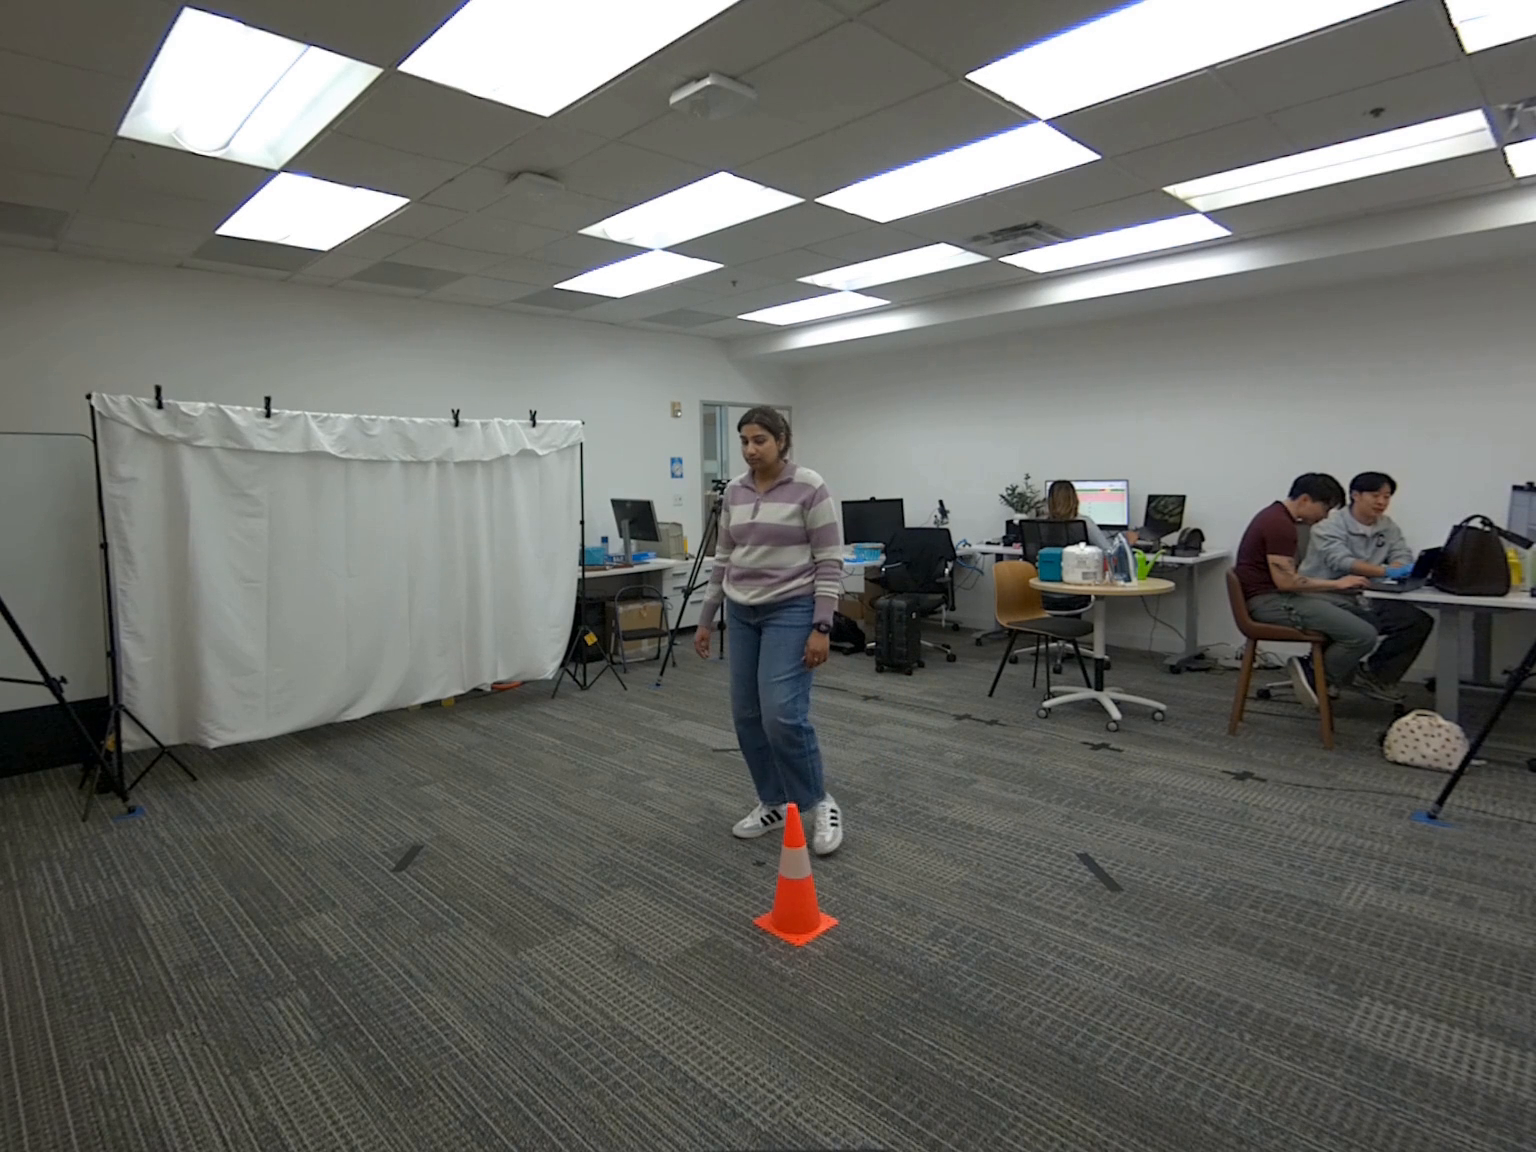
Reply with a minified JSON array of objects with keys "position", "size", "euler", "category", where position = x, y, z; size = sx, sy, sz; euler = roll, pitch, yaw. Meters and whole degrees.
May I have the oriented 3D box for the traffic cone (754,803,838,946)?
[{"position":[0.089,0.914,2.684],"size":[0.211,0.382,0.198],"euler":[2,5,40],"category":"traffic cone"}]
